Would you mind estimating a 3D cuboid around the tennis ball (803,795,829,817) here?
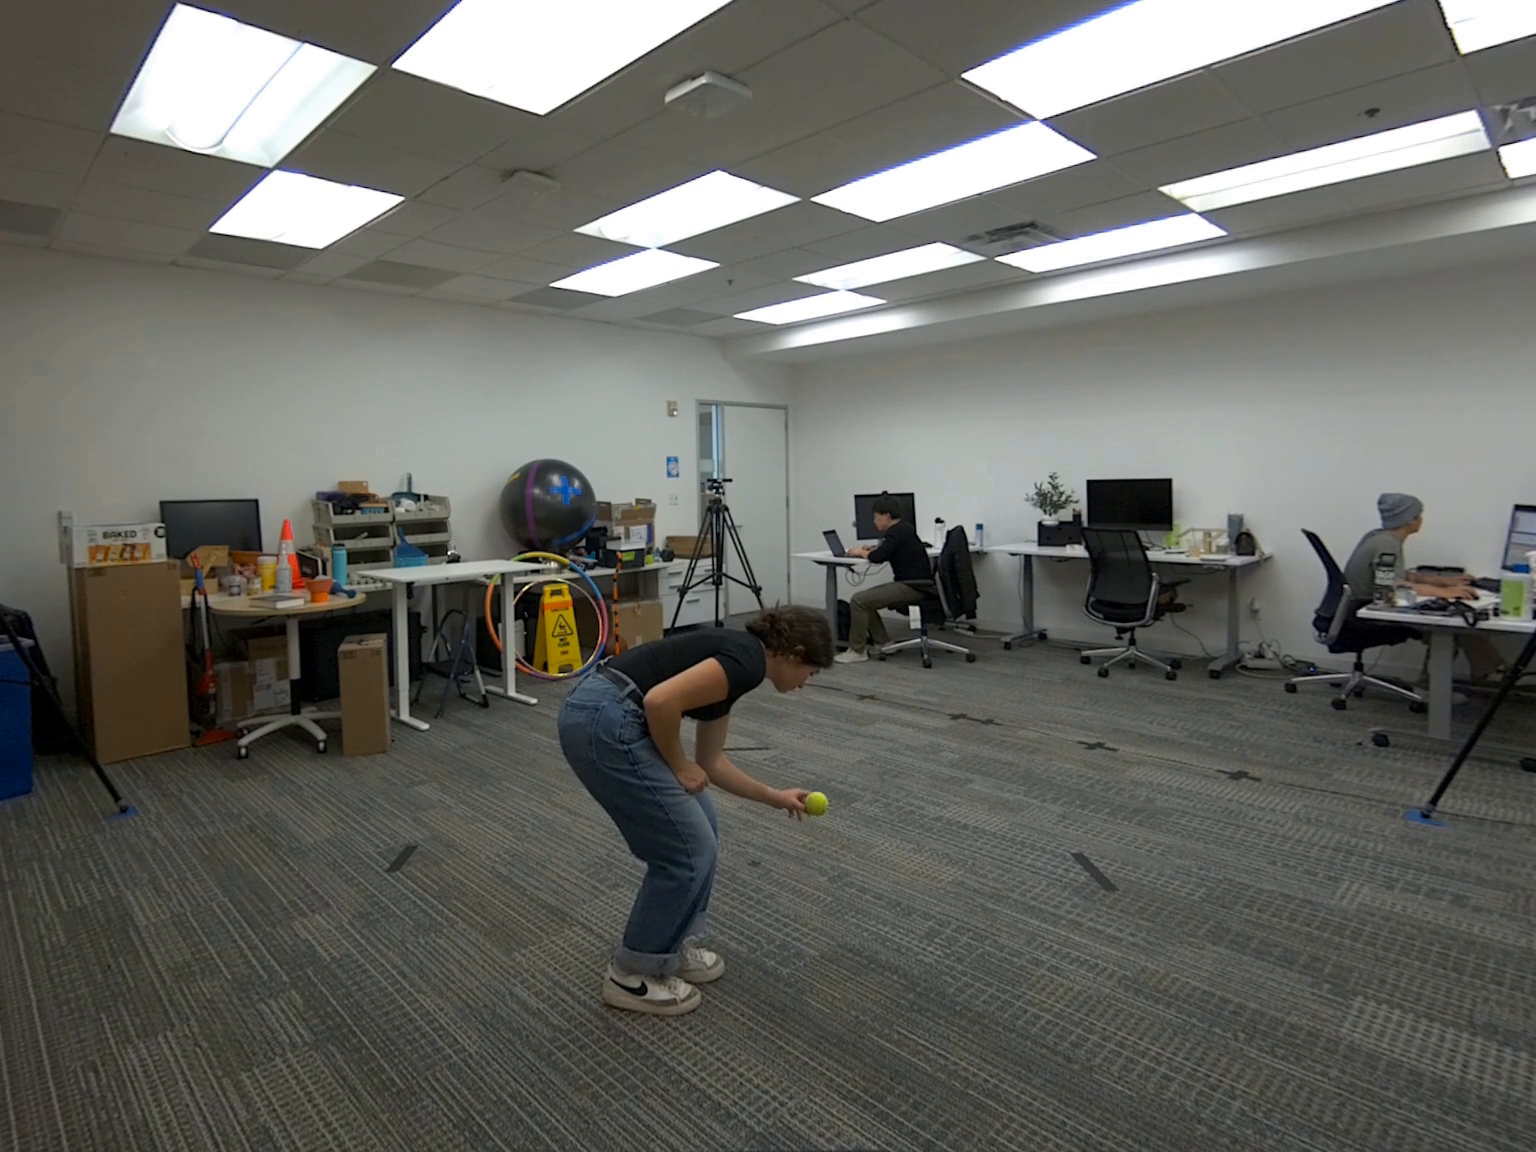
[{"bbox_3d":[0.125,0.714,2.520,0.066,0.066,0.067,-1,5,-2],"label":"tennis ball"}]
